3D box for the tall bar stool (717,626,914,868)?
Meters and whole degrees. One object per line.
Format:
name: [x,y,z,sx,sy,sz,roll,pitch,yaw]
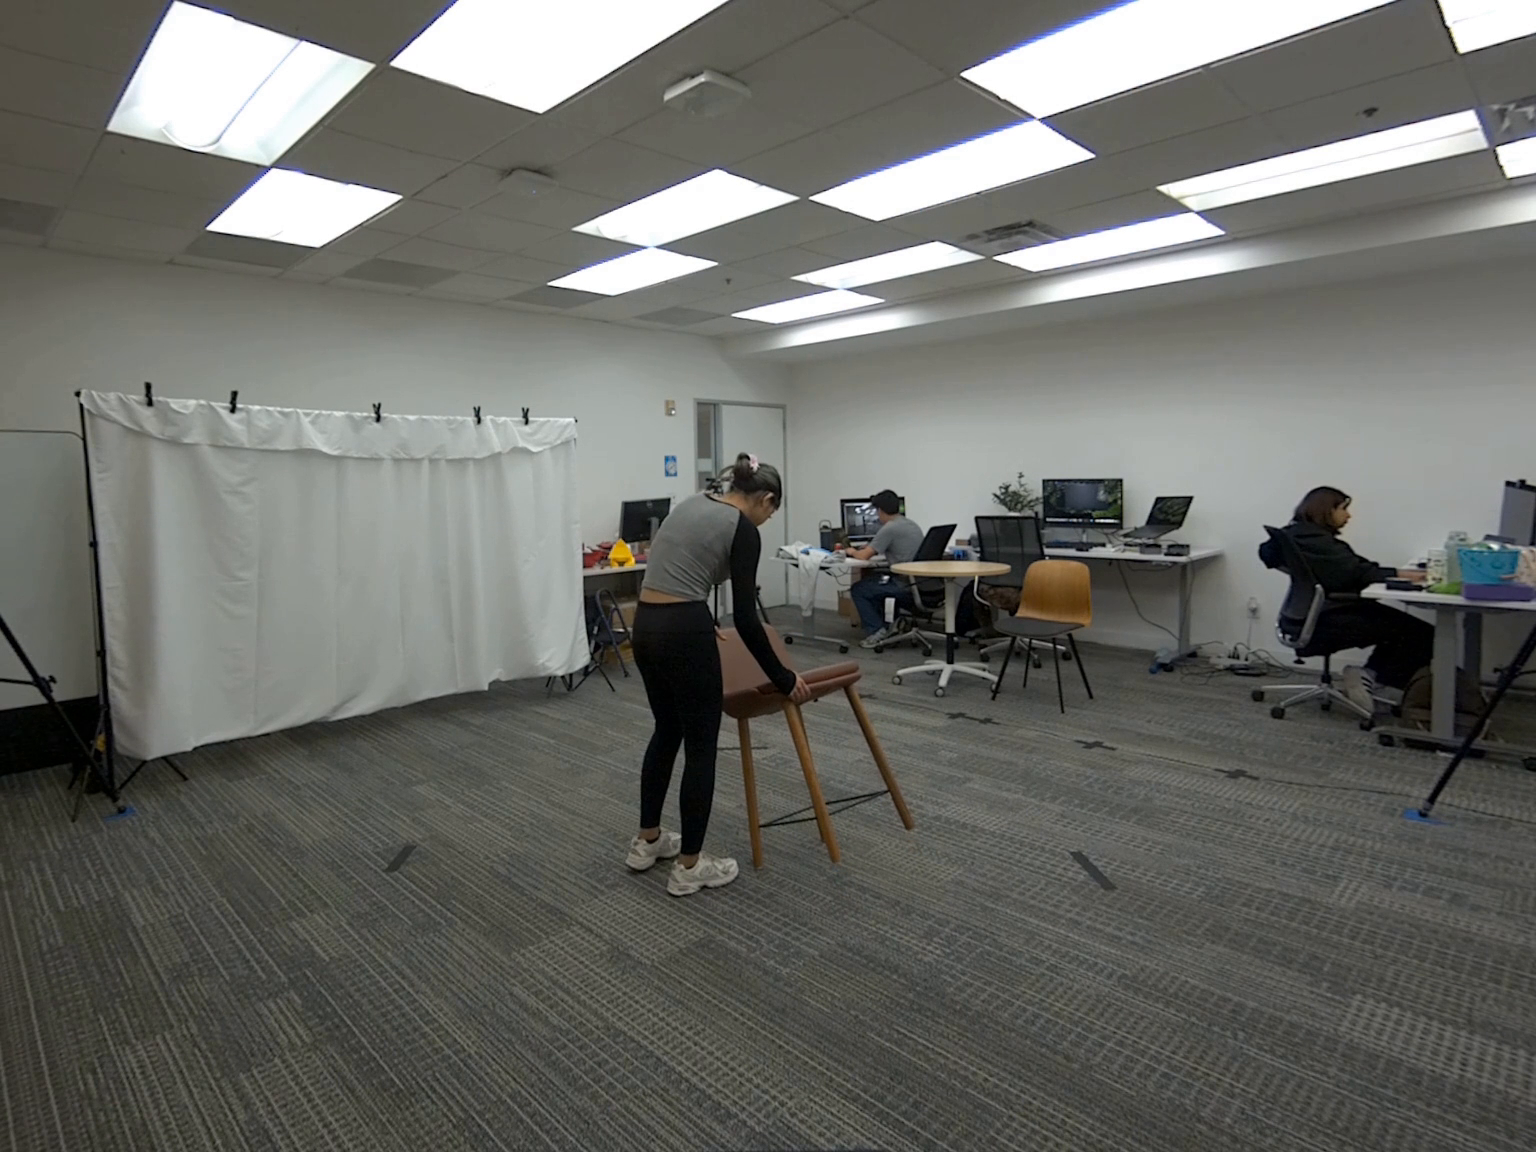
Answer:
tall bar stool: [0.111,0.559,3.127,0.444,0.904,0.472,-5,-18,-41]
